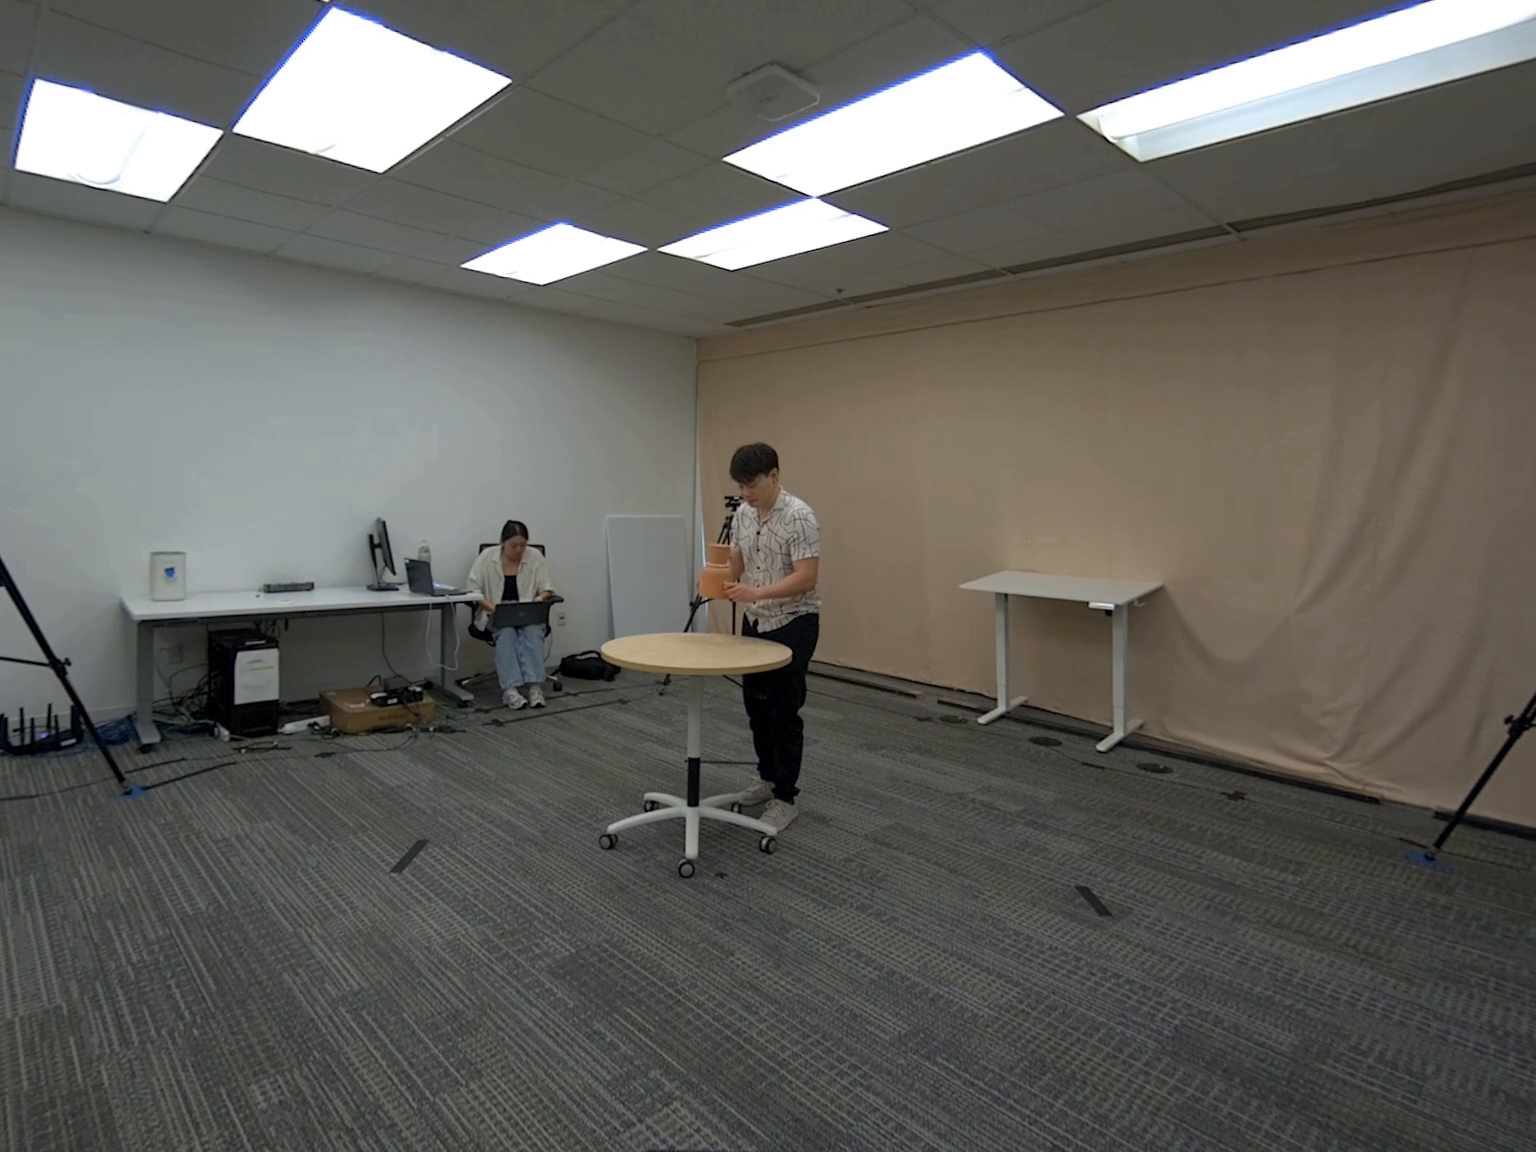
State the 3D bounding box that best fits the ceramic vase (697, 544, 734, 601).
[{"bbox_3d":[-0.220,-0.021,3.545,0.161,0.219,0.133,7,4,13],"label":"ceramic vase"}]
